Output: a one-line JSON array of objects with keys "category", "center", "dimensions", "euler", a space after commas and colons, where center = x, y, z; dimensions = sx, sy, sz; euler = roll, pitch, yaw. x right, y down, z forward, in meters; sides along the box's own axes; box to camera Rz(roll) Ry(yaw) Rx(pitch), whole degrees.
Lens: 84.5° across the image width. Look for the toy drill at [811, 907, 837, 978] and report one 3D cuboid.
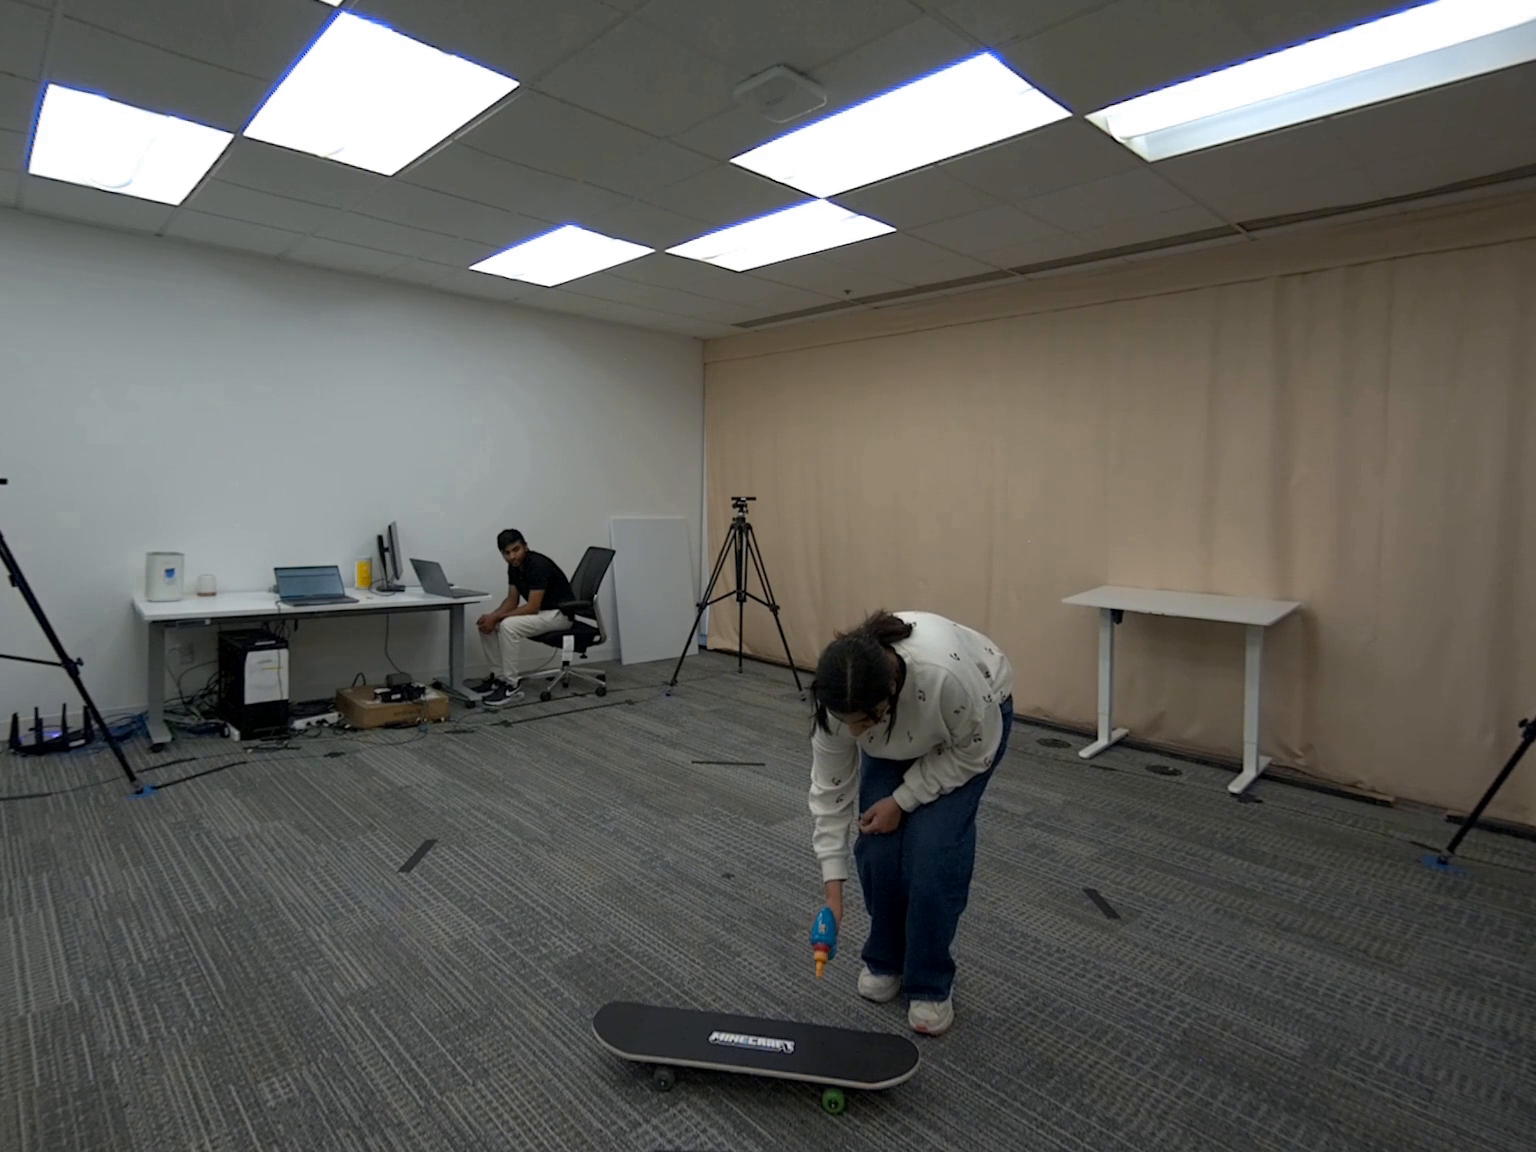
[{"category": "toy drill", "center": [0.131, 0.925, 2.076], "dimensions": [0.062, 0.142, 0.172], "euler": [1, 47, 12]}]
